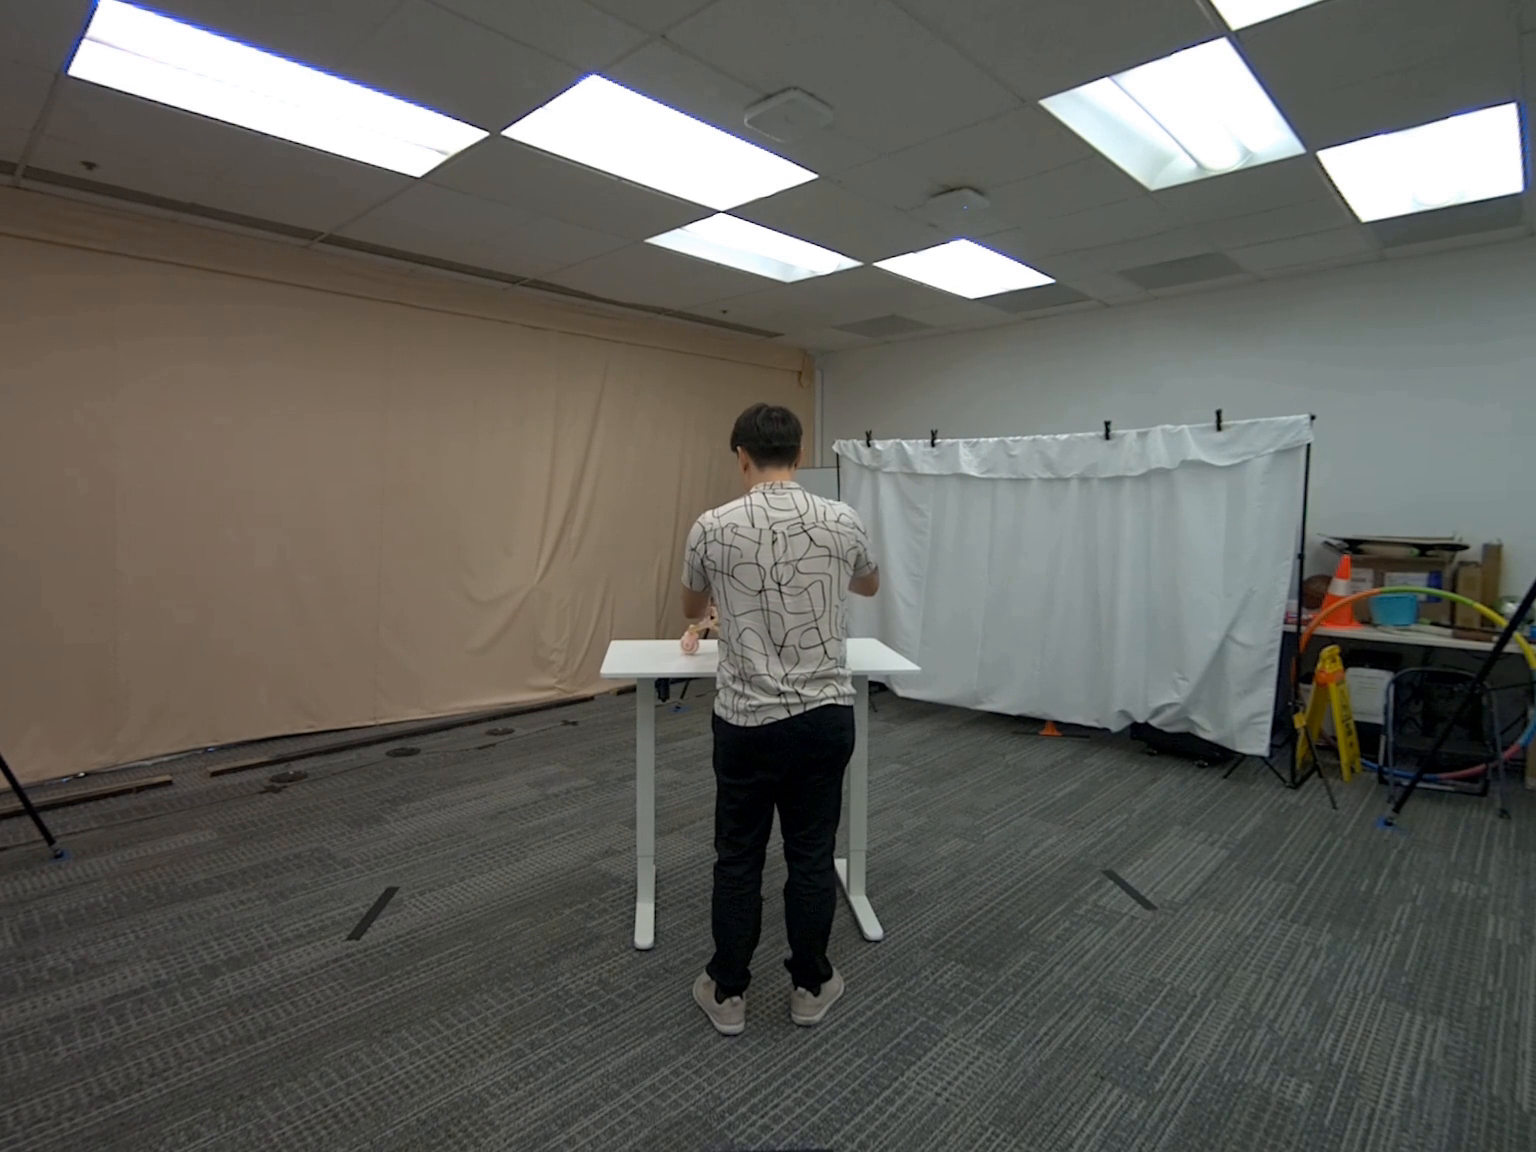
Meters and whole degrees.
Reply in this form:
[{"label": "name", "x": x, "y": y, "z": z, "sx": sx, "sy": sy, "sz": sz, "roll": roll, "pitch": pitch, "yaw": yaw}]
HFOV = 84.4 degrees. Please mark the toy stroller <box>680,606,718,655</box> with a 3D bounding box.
[{"label": "toy stroller", "x": -0.078, "y": 0.051, "z": 2.791, "sx": 0.351, "sy": 0.533, "sz": 0.275, "roll": 18, "pitch": 10, "yaw": 24}]
